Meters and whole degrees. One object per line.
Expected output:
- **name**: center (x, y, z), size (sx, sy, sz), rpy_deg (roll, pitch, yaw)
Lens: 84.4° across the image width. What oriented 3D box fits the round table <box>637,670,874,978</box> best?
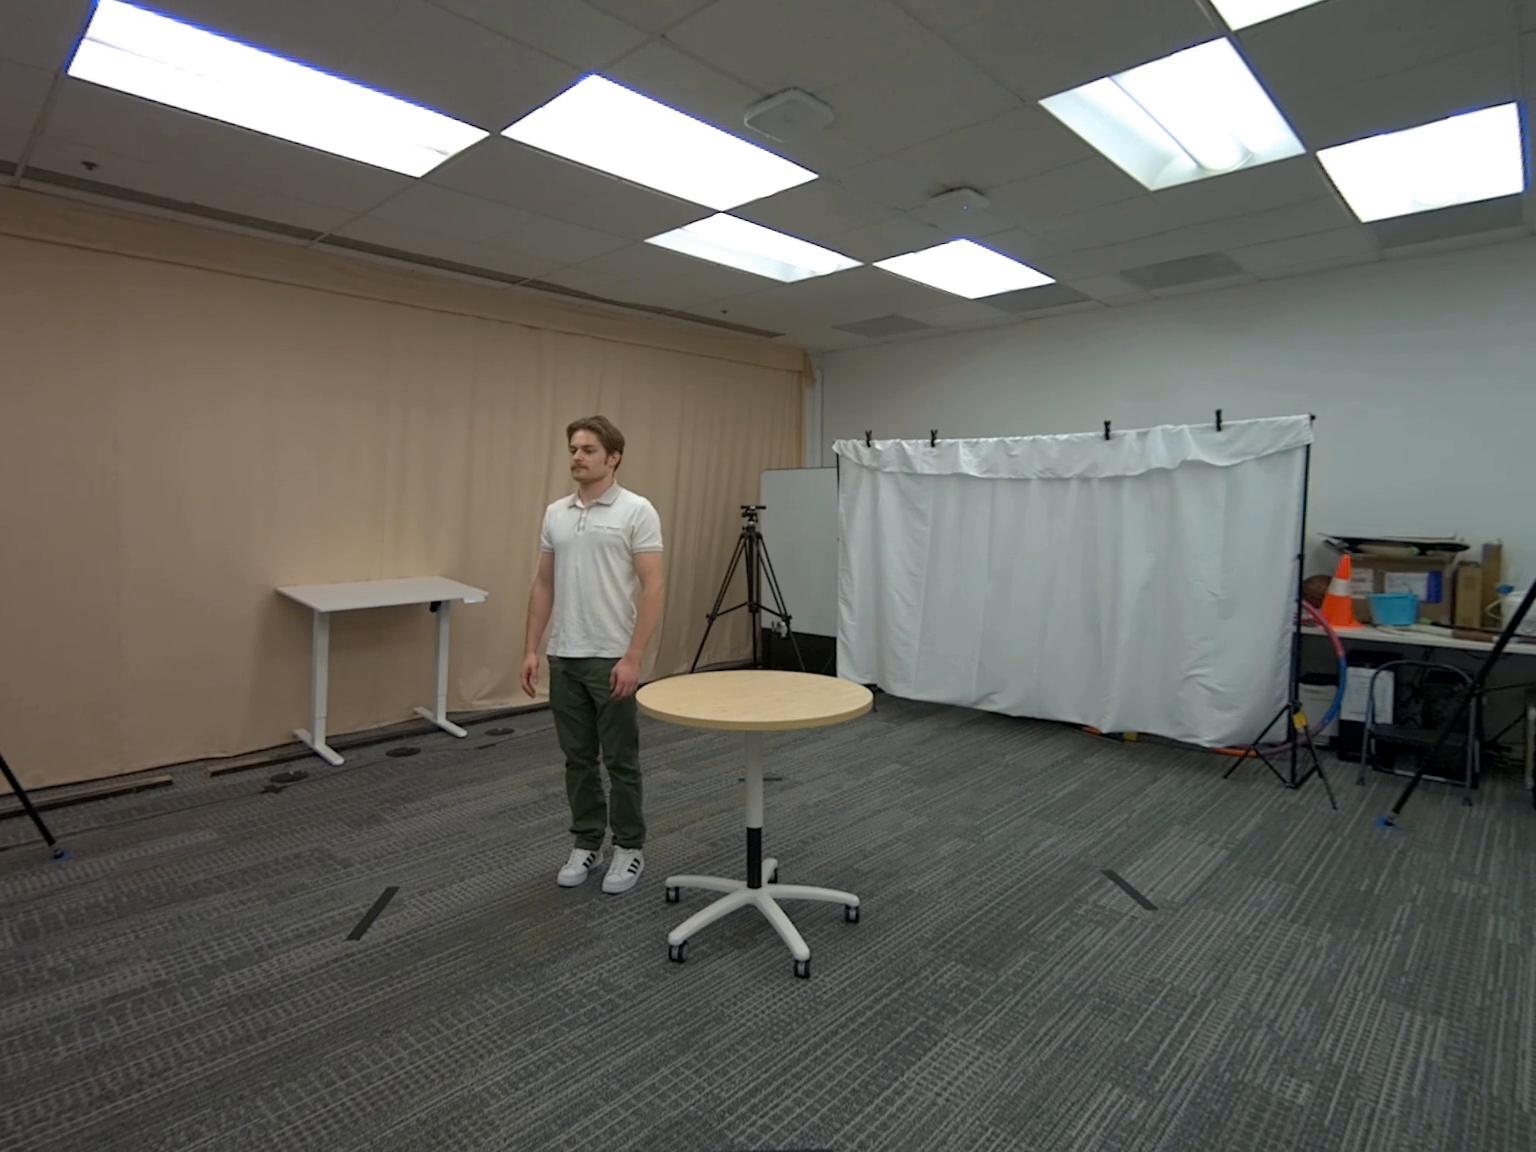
- **round table**: center (-0.040, 0.770, 2.749), size (0.784, 0.785, 0.787), rpy_deg (-1, 3, -2)
